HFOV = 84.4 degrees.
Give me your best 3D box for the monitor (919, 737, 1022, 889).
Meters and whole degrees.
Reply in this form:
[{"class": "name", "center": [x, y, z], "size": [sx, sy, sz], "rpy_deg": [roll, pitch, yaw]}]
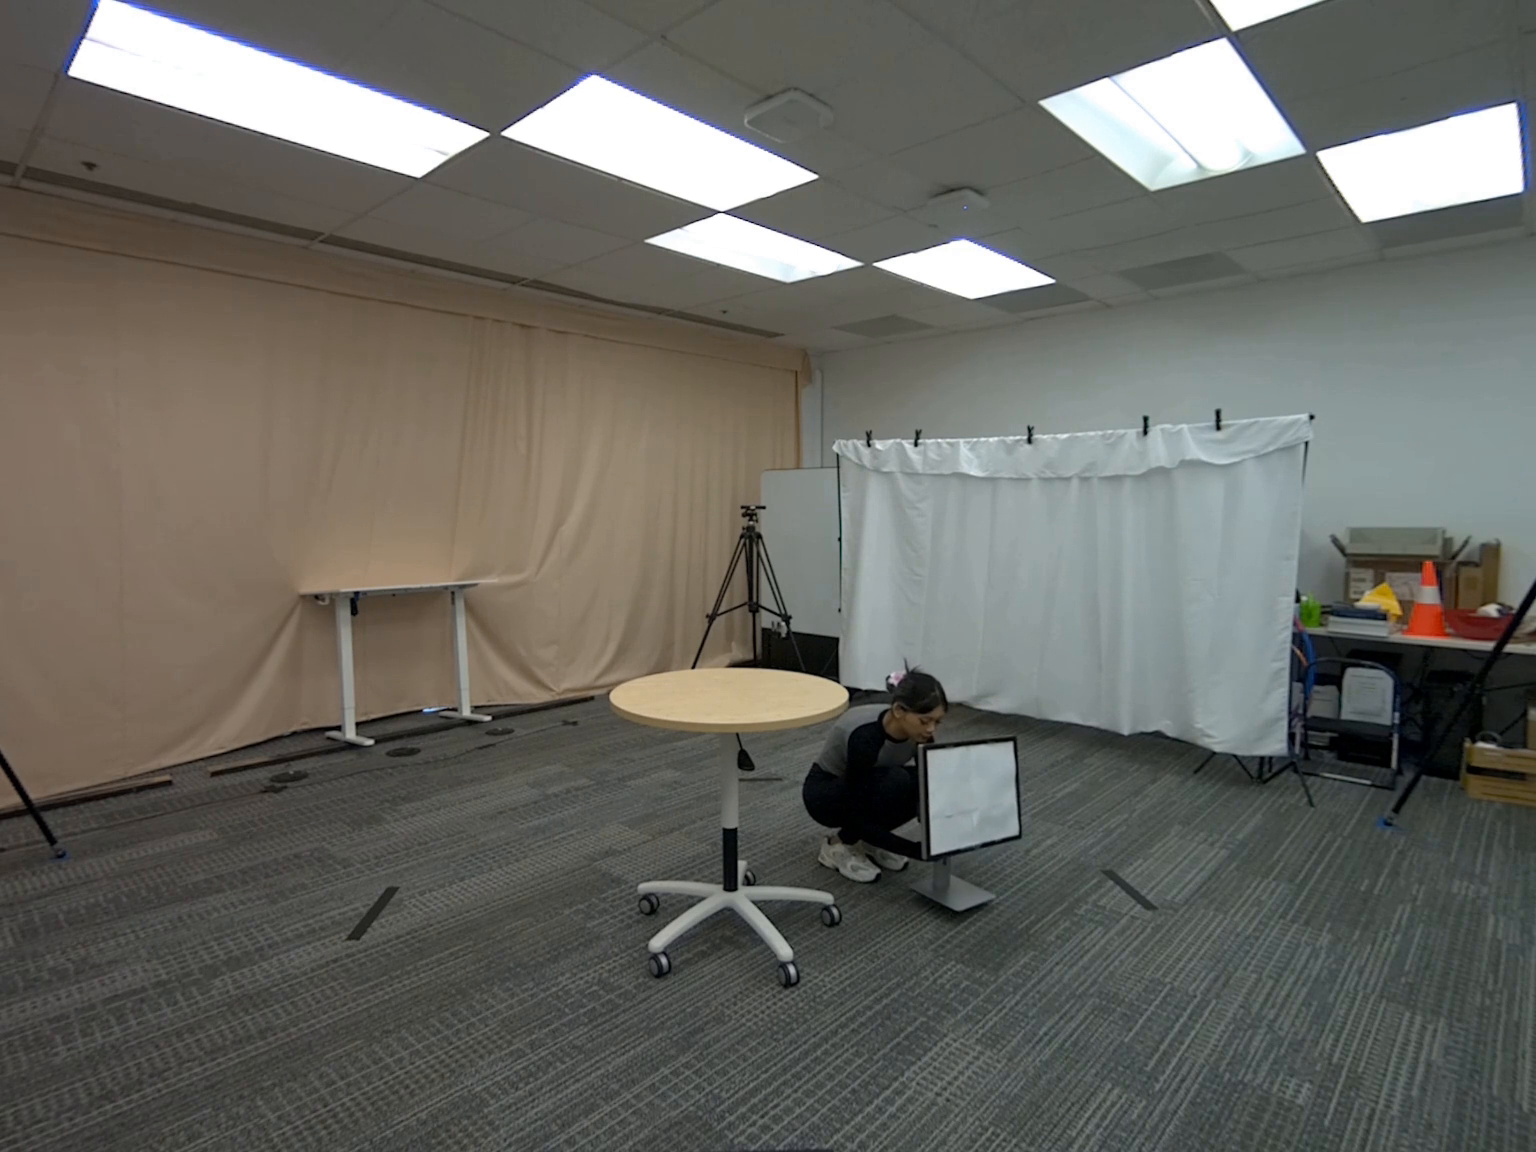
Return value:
[{"class": "monitor", "center": [0.693, 0.846, 2.922], "size": [0.193, 0.522, 0.521], "rpy_deg": [5, 2, 44]}]
